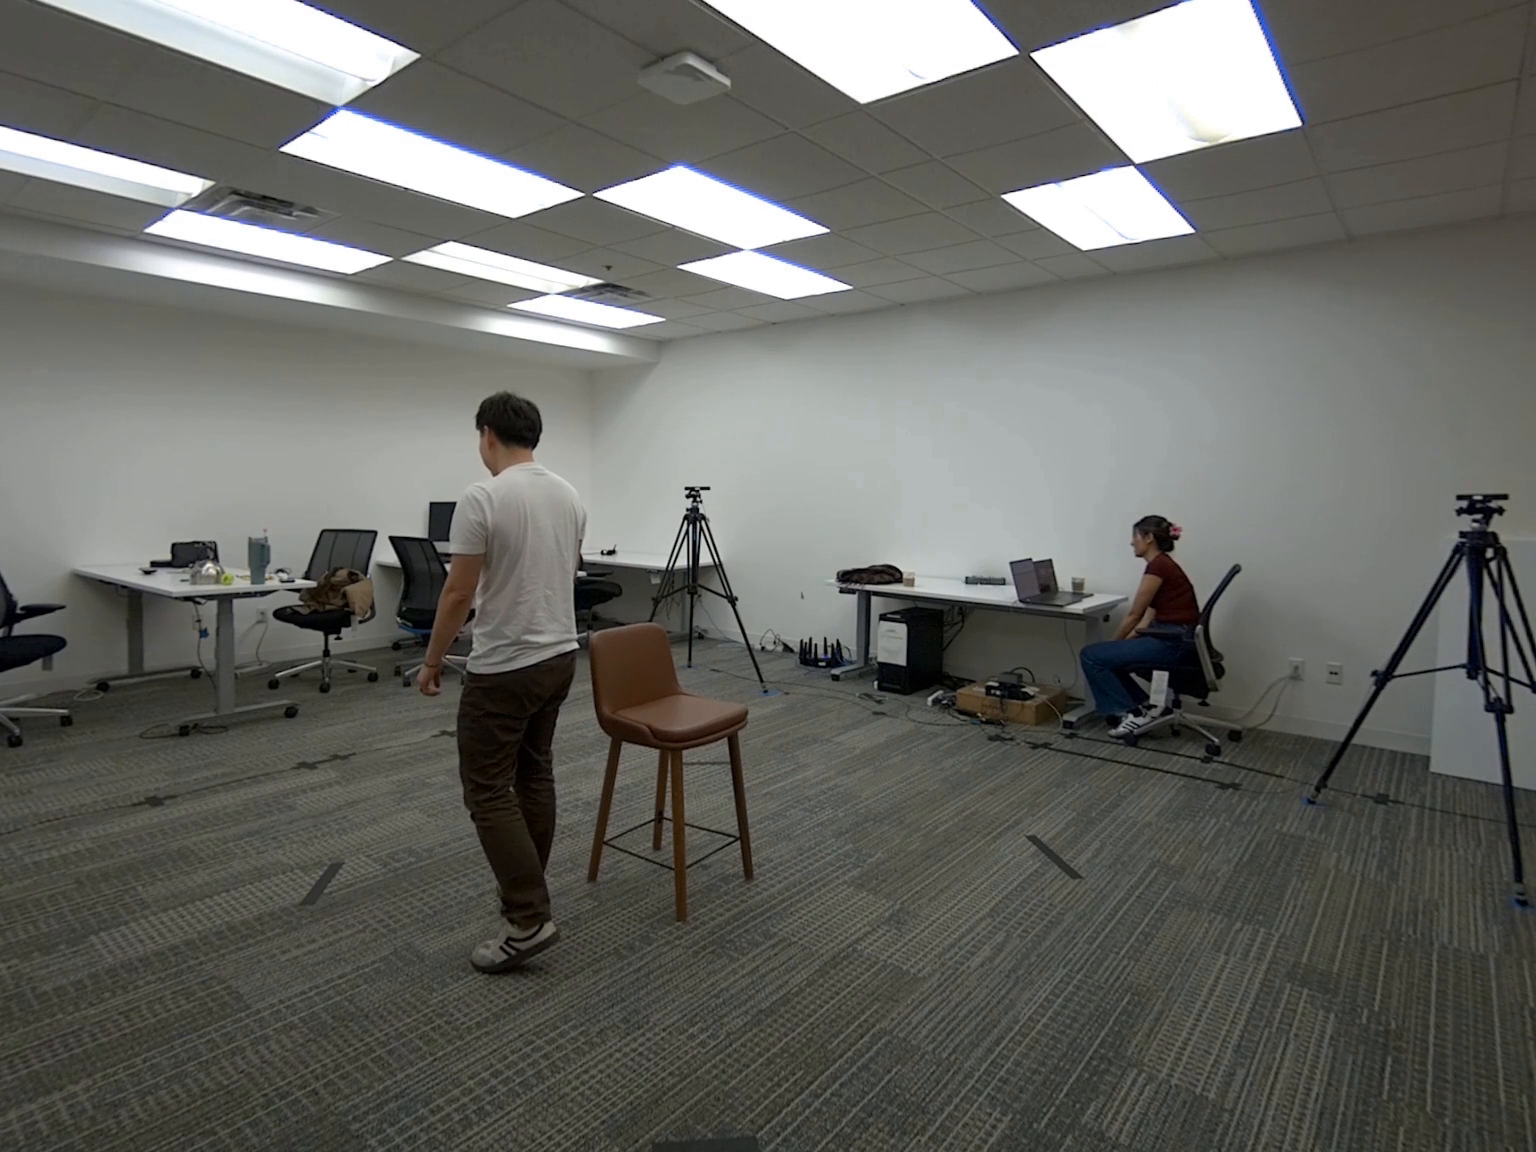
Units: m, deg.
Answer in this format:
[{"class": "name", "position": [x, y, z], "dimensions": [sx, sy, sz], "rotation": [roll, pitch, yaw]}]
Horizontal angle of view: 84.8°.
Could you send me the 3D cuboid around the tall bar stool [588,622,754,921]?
[{"class": "tall bar stool", "position": [-0.358, 0.636, 2.995], "dimensions": [0.482, 0.888, 0.443], "rotation": [0, 2, 35]}]
